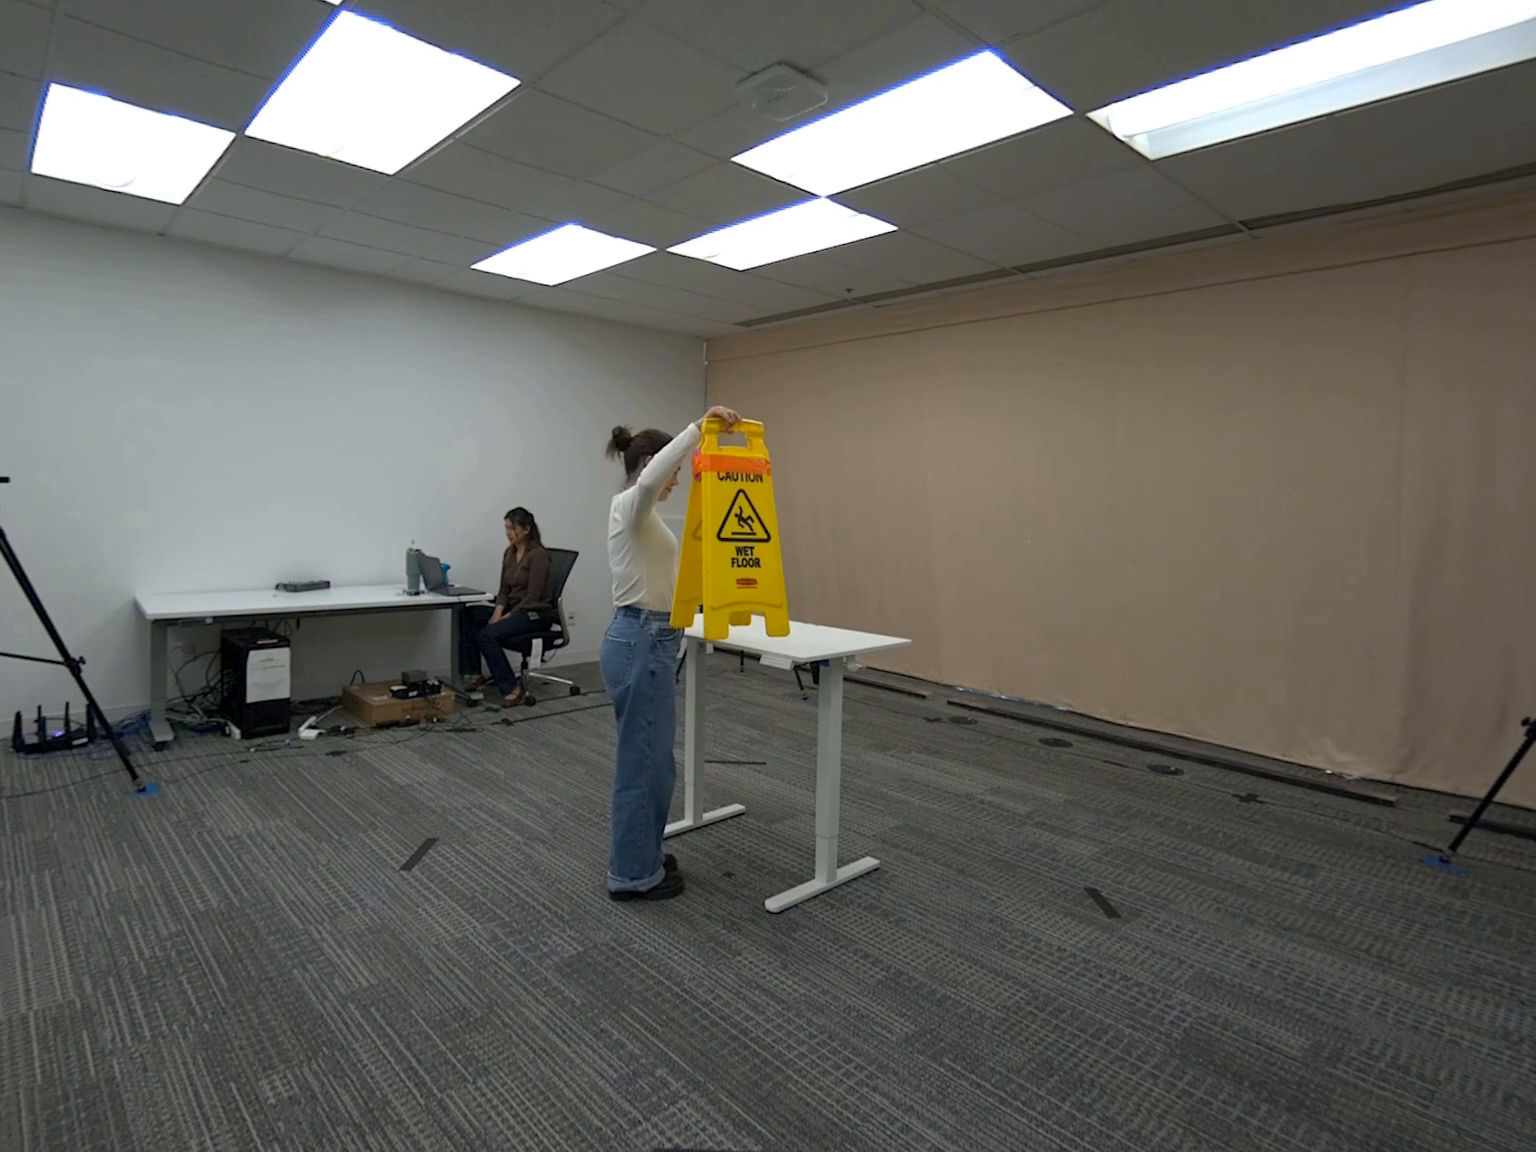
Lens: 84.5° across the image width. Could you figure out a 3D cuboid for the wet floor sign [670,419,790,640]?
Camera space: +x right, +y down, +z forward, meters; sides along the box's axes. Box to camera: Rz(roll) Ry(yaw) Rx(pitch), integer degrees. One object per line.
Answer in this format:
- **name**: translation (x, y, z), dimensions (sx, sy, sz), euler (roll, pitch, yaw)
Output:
- **wet floor sign**: translation (-0.114, -0.151, 2.555), dimensions (0.277, 0.645, 0.296), euler (1, 2, -27)
